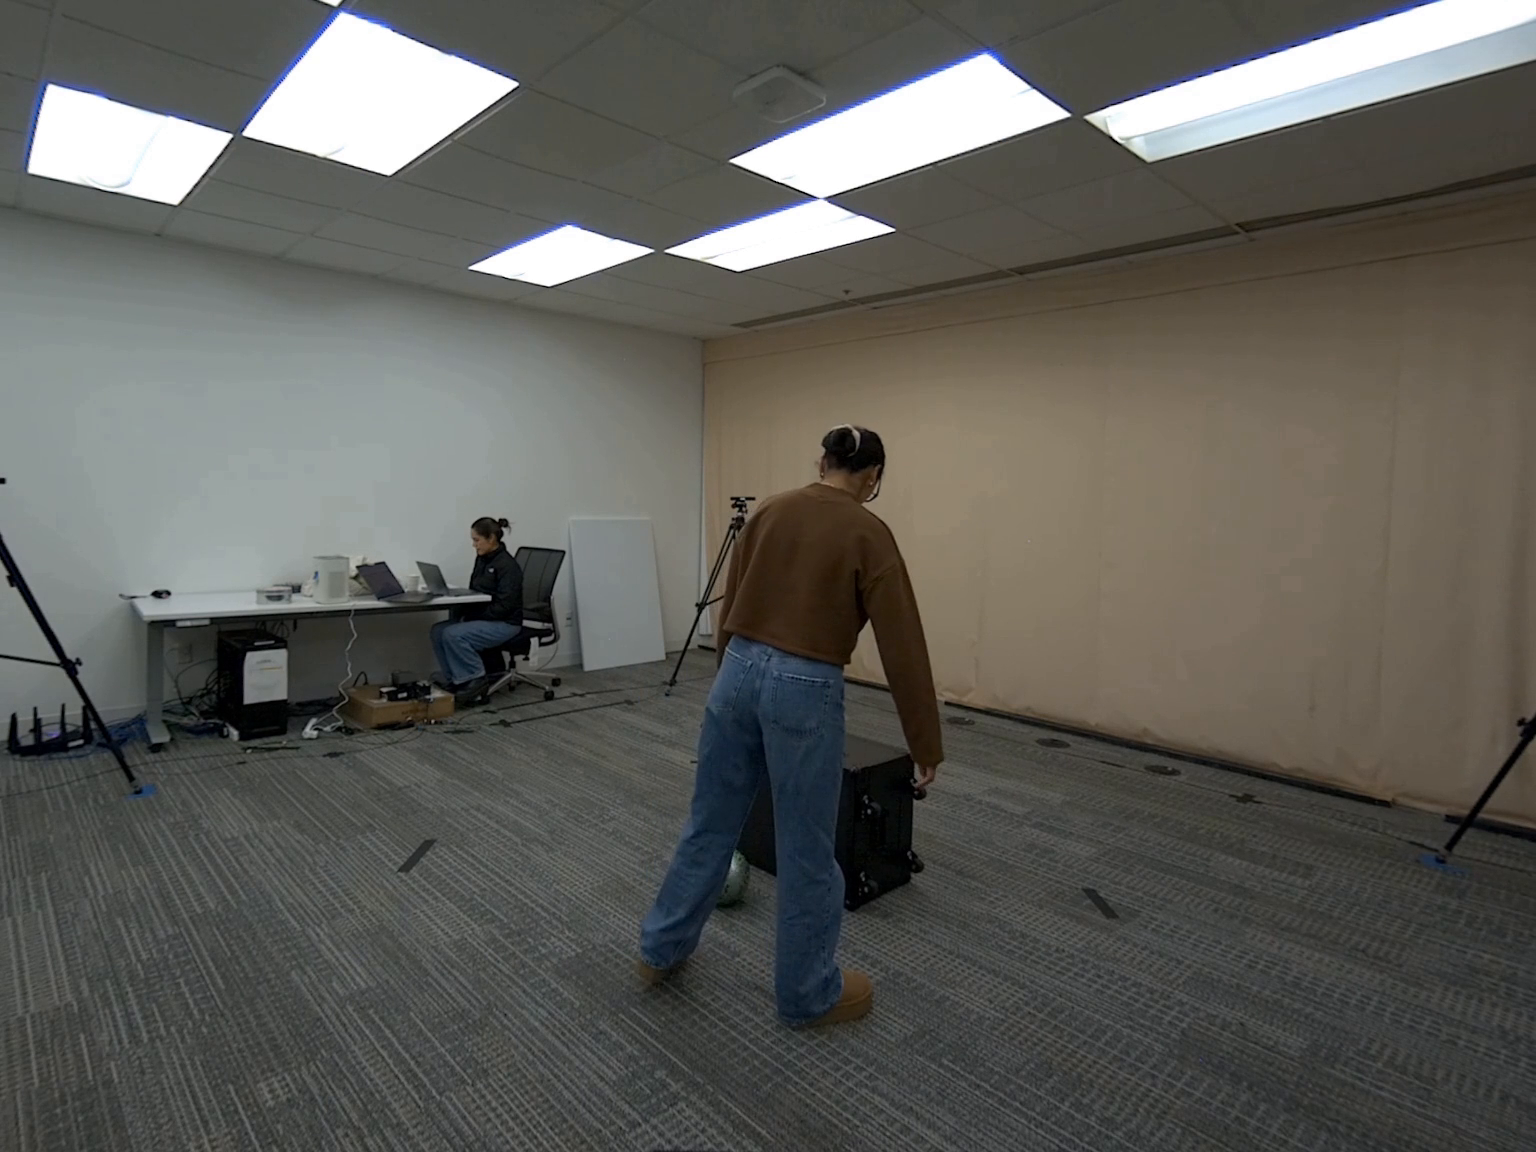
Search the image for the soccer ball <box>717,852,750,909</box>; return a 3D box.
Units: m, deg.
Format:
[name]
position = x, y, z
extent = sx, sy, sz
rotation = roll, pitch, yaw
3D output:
[soccer ball]
position = -0.157, 1.029, 2.906
extent = 0.187, 0.187, 0.188
rotation = 1, 4, -1
